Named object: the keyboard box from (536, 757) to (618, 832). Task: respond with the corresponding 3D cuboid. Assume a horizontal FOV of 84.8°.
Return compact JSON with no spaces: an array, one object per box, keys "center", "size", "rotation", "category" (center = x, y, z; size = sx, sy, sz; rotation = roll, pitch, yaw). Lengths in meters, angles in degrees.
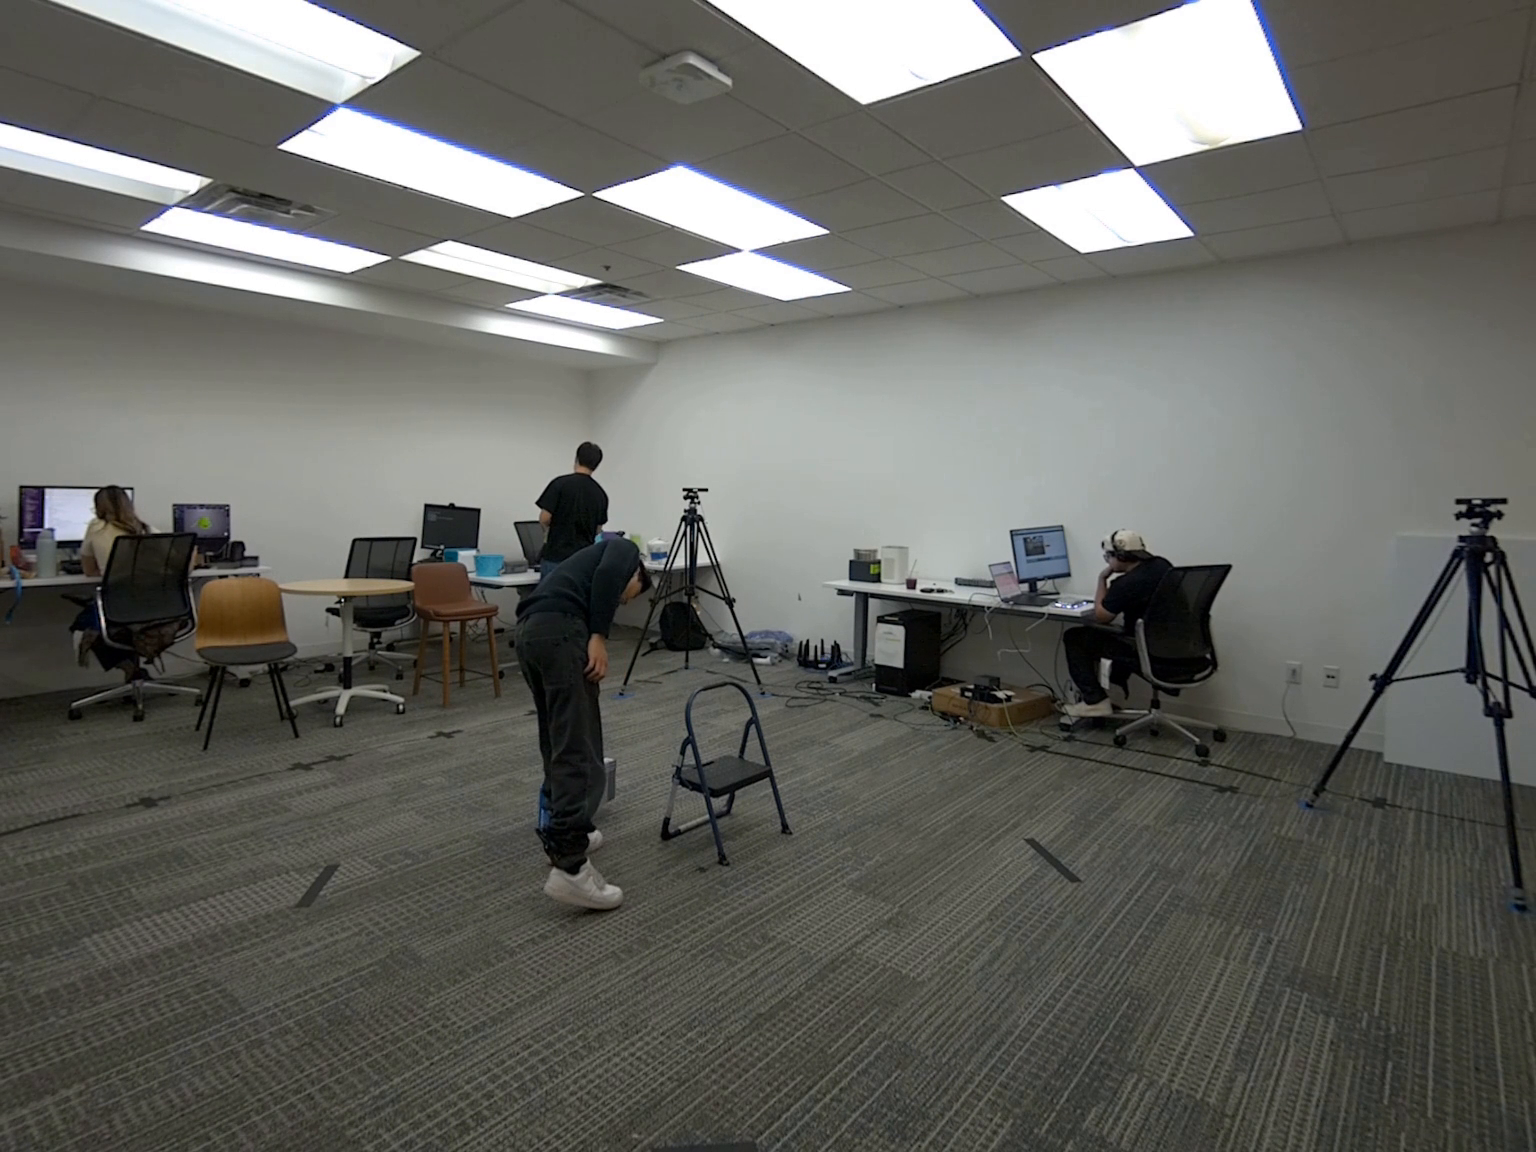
[{"center":[-0.785,0.886,3.490],"size":[0.061,0.175,0.427],"rotation":[3,6,26],"category":"keyboard box"}]
